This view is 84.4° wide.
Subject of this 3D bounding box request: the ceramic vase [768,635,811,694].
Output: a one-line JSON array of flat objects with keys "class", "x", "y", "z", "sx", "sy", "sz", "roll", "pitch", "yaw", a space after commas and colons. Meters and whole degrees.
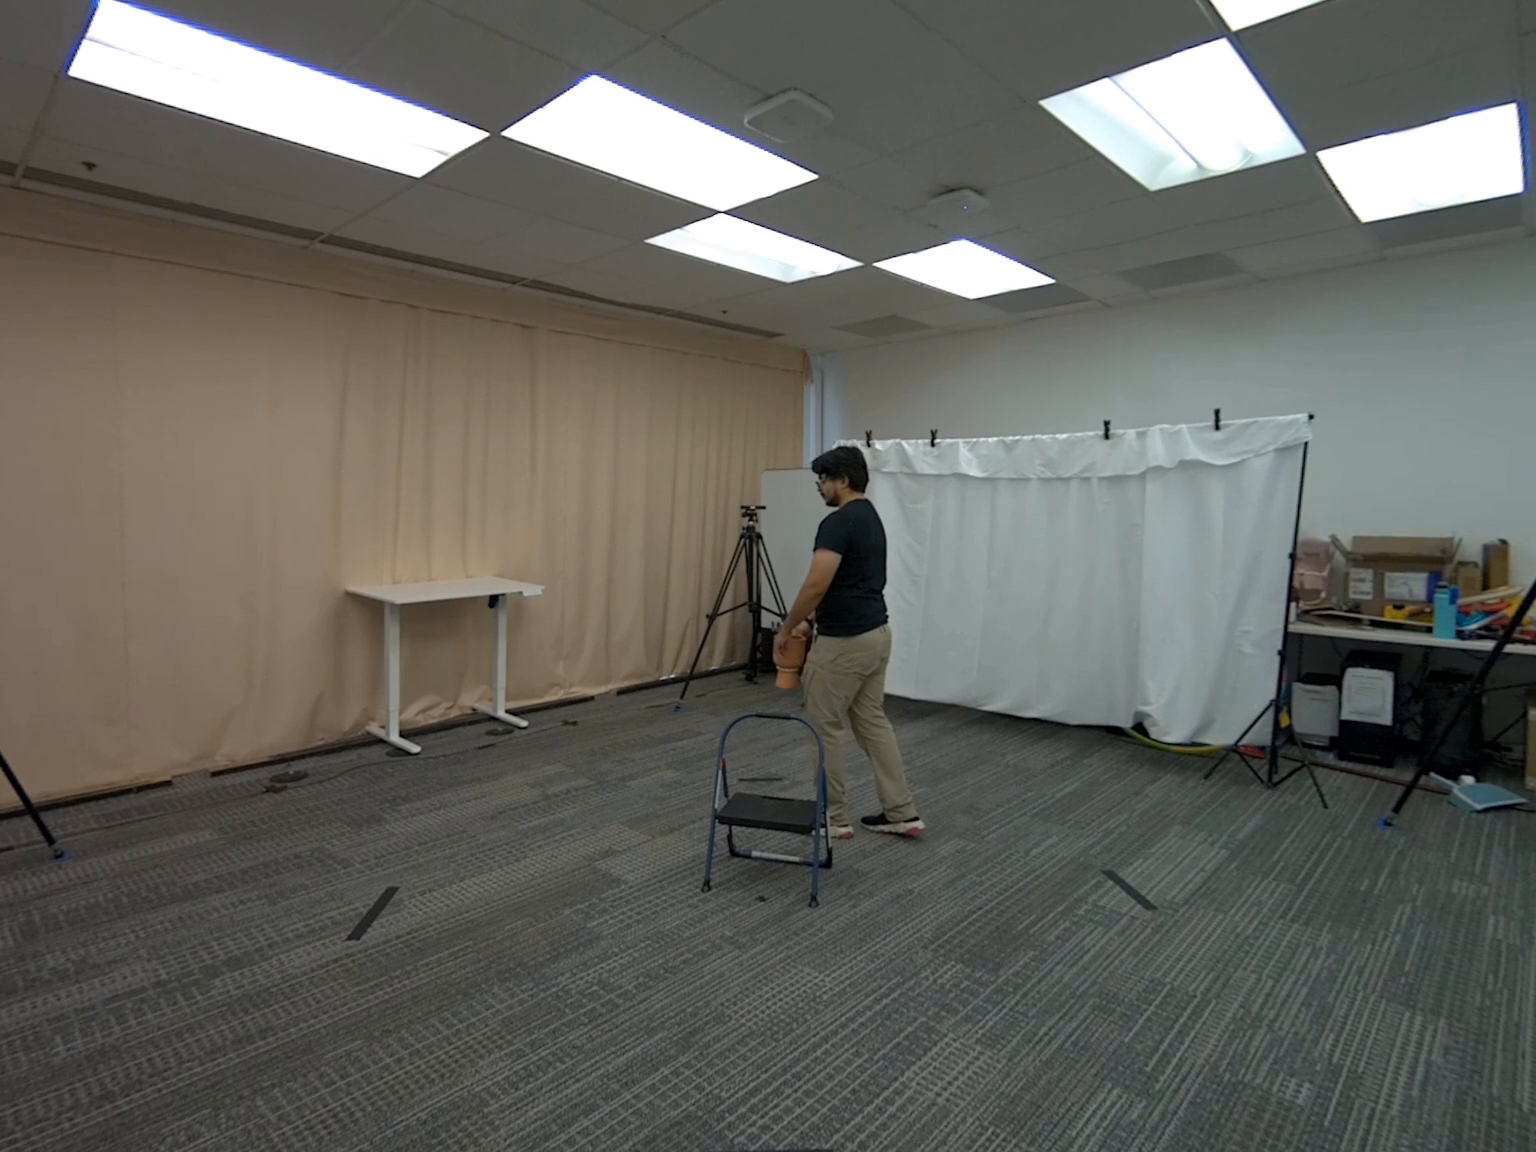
[{"class": "ceramic vase", "x": 0.107, "y": 0.380, "z": 3.679, "sx": 0.155, "sy": 0.219, "sz": 0.138, "roll": 1, "pitch": 5, "yaw": -26}]
